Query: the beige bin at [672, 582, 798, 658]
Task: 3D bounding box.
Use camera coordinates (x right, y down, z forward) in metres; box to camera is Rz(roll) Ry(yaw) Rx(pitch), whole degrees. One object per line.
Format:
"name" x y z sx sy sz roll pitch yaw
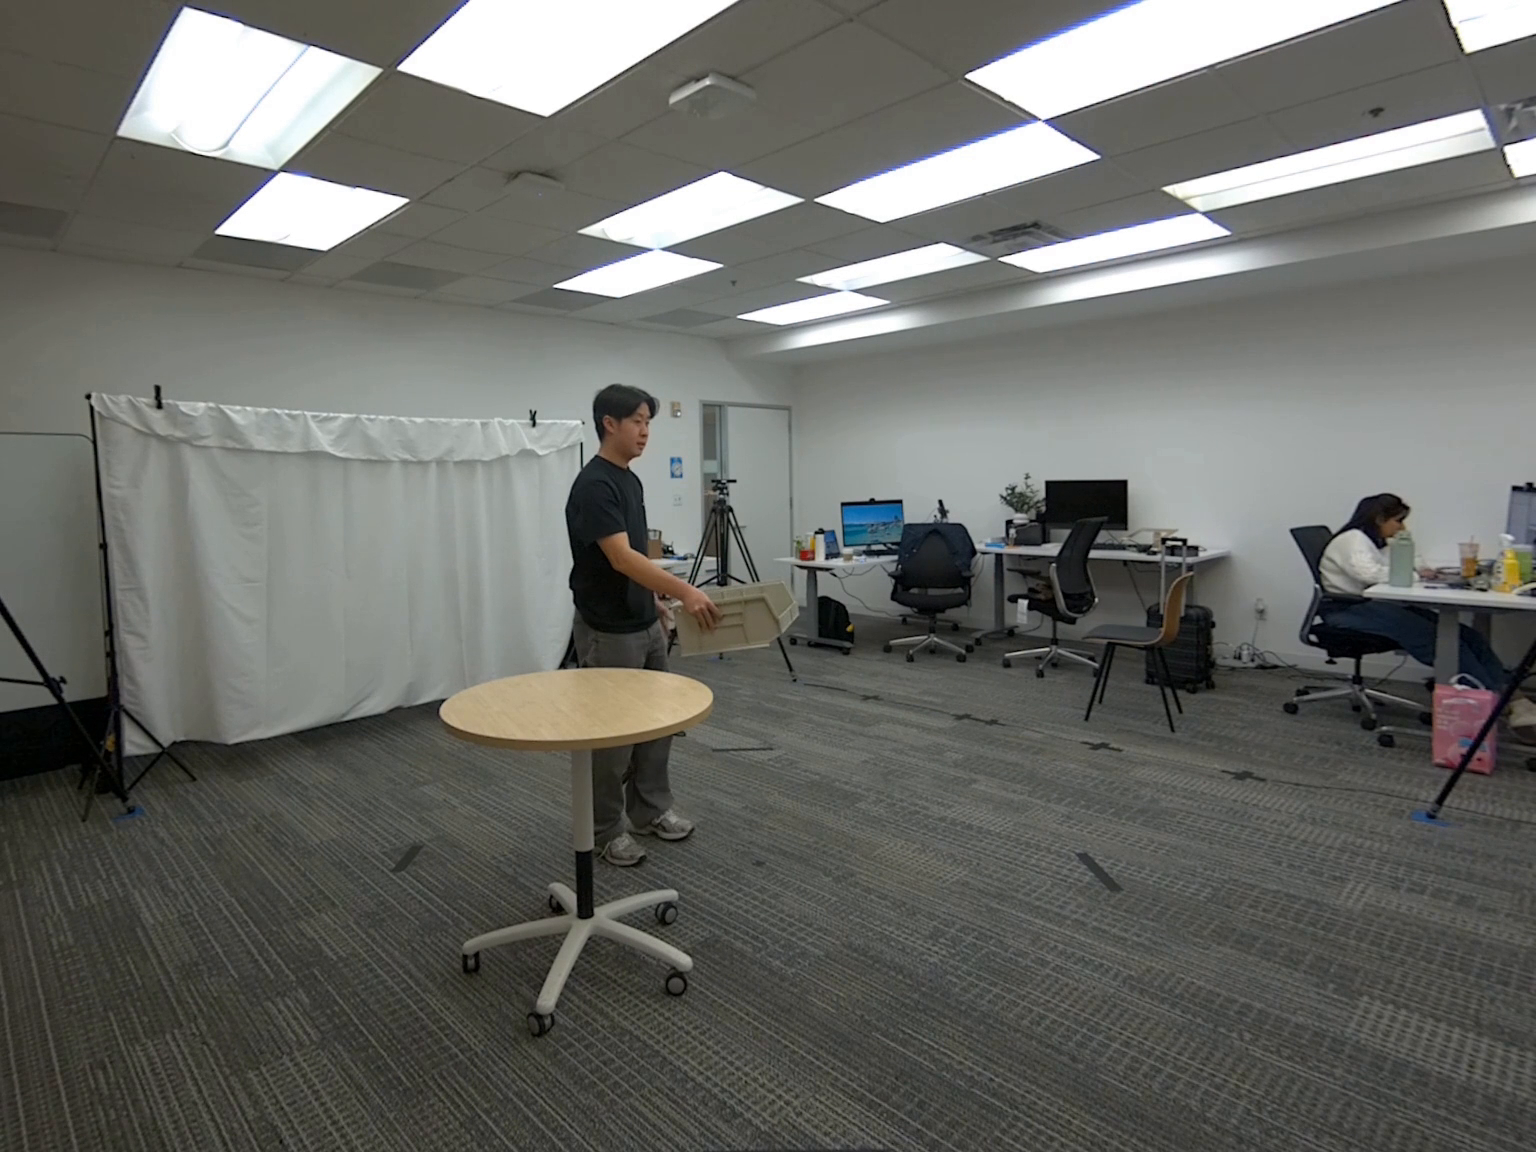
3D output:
"beige bin" -0.111 0.148 3.087 0.381 0.188 0.420 -9 5 11
